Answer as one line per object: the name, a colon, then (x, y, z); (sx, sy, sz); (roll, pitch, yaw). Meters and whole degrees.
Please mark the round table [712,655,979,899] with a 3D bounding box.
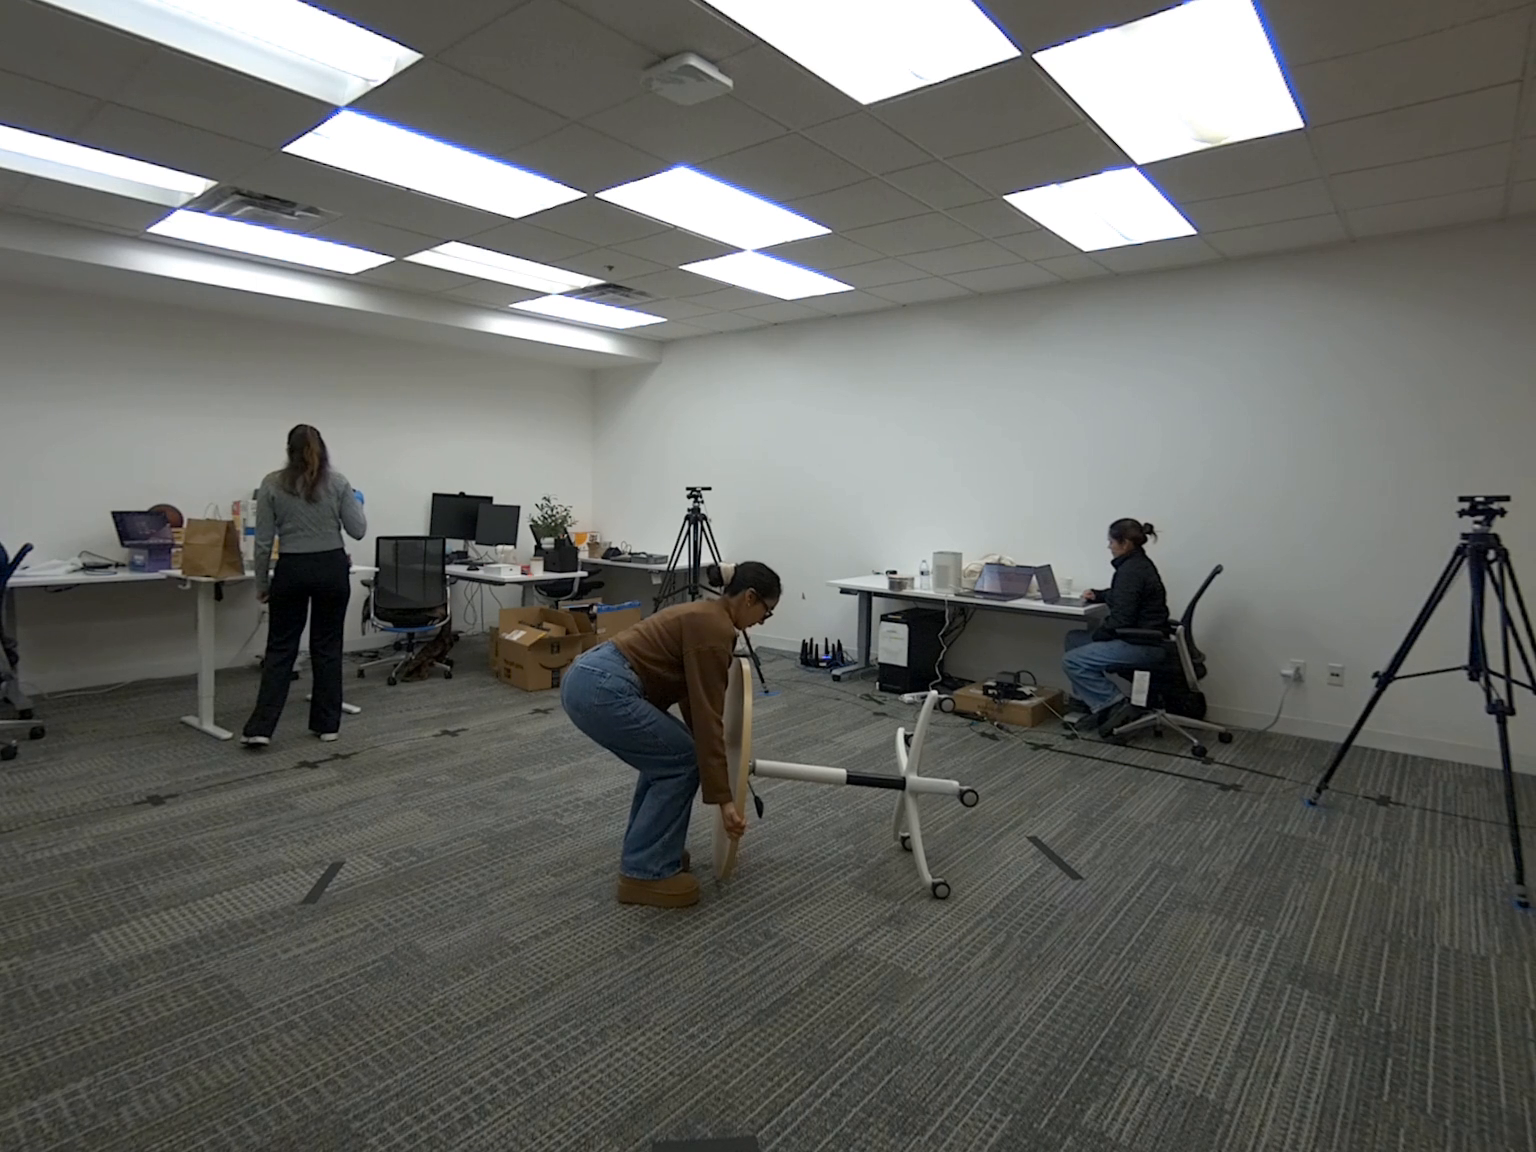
round table: (0.237, 0.726, 3.079); (0.790, 0.762, 0.770); (7, 3, -5)
